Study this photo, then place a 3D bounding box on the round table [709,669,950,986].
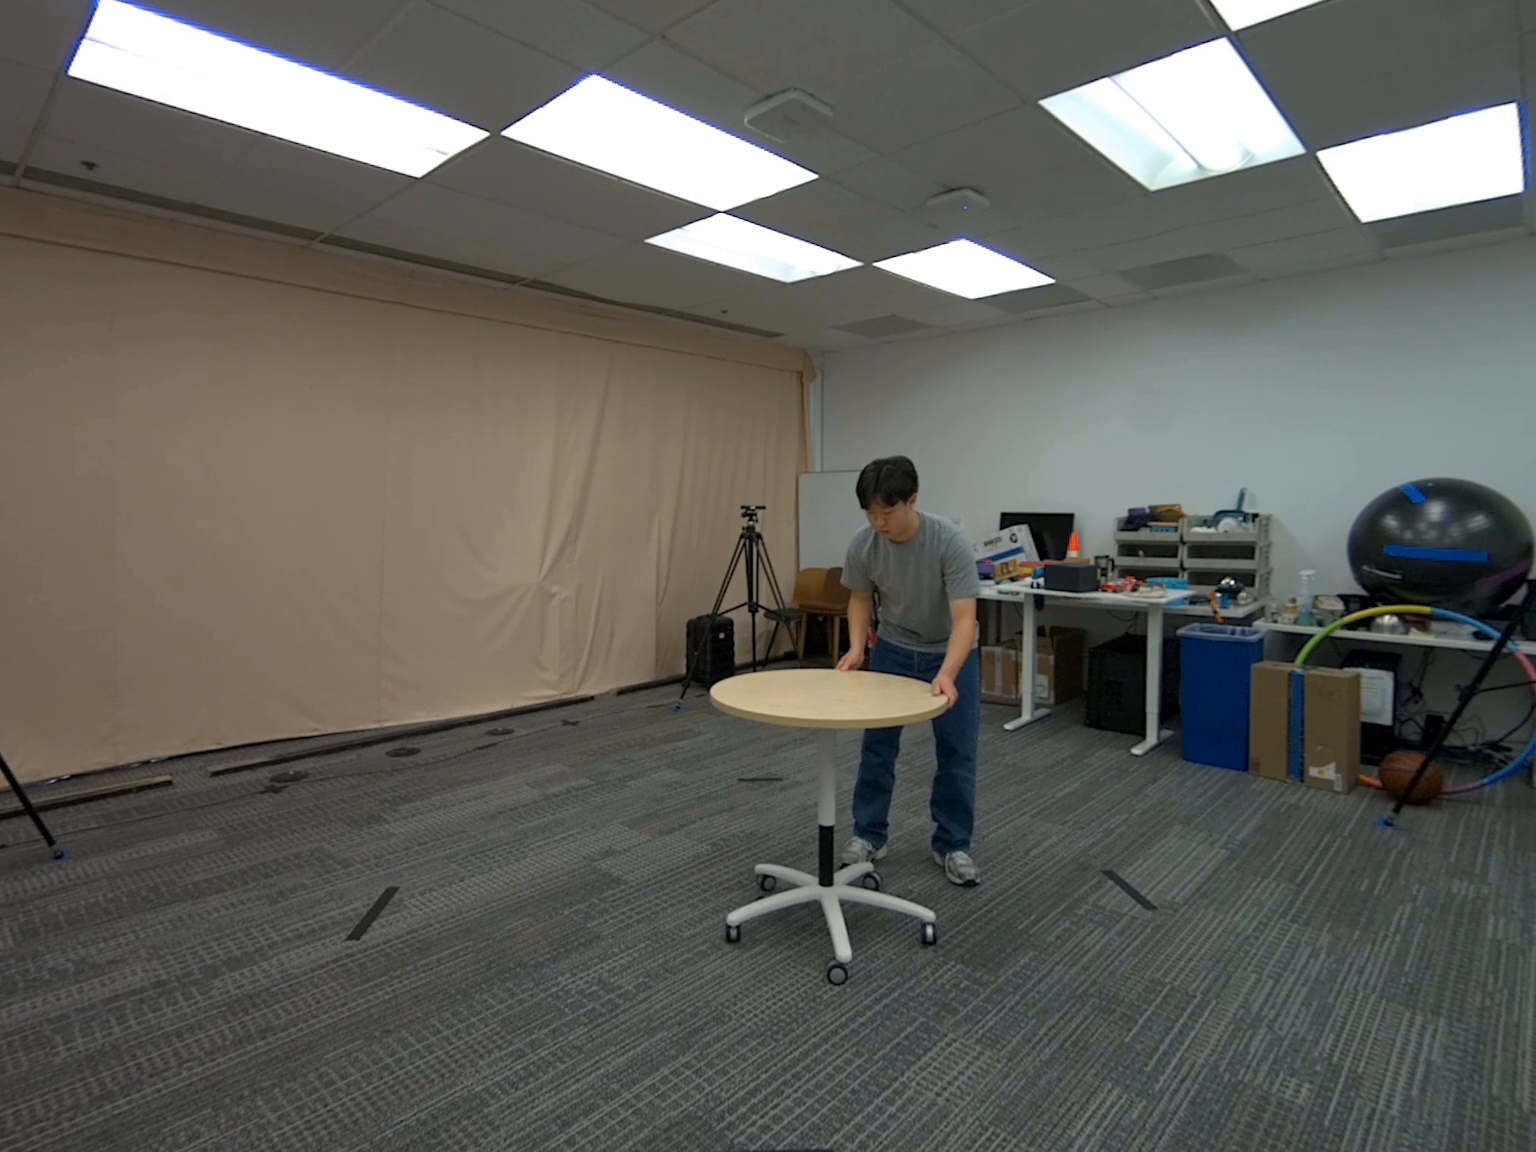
[{"bbox_3d":[0.196,0.771,2.772,0.763,0.792,0.766,0,4,-2],"label":"round table"}]
